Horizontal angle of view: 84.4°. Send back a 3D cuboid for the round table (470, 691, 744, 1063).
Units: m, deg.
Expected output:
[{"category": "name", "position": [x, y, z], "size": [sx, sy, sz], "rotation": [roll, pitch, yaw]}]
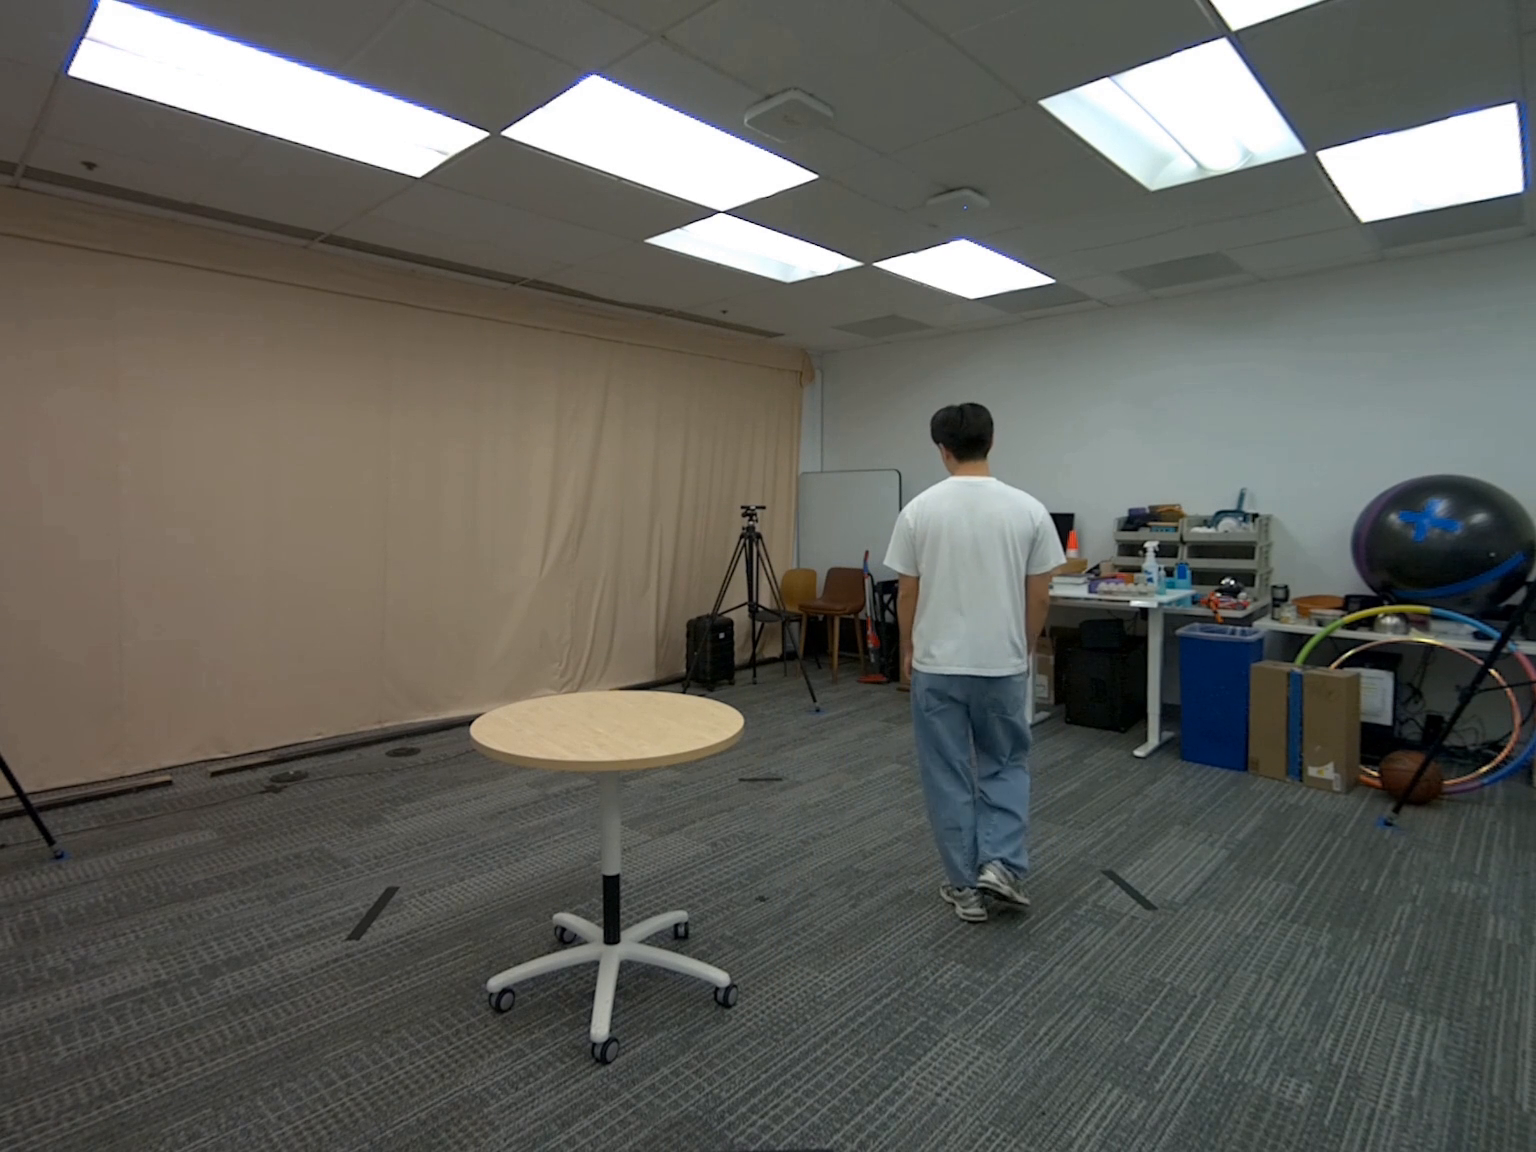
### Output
[{"category": "round table", "position": [-0.444, 0.809, 2.408], "size": [0.763, 0.792, 0.767], "rotation": [0, 4, -2]}]
